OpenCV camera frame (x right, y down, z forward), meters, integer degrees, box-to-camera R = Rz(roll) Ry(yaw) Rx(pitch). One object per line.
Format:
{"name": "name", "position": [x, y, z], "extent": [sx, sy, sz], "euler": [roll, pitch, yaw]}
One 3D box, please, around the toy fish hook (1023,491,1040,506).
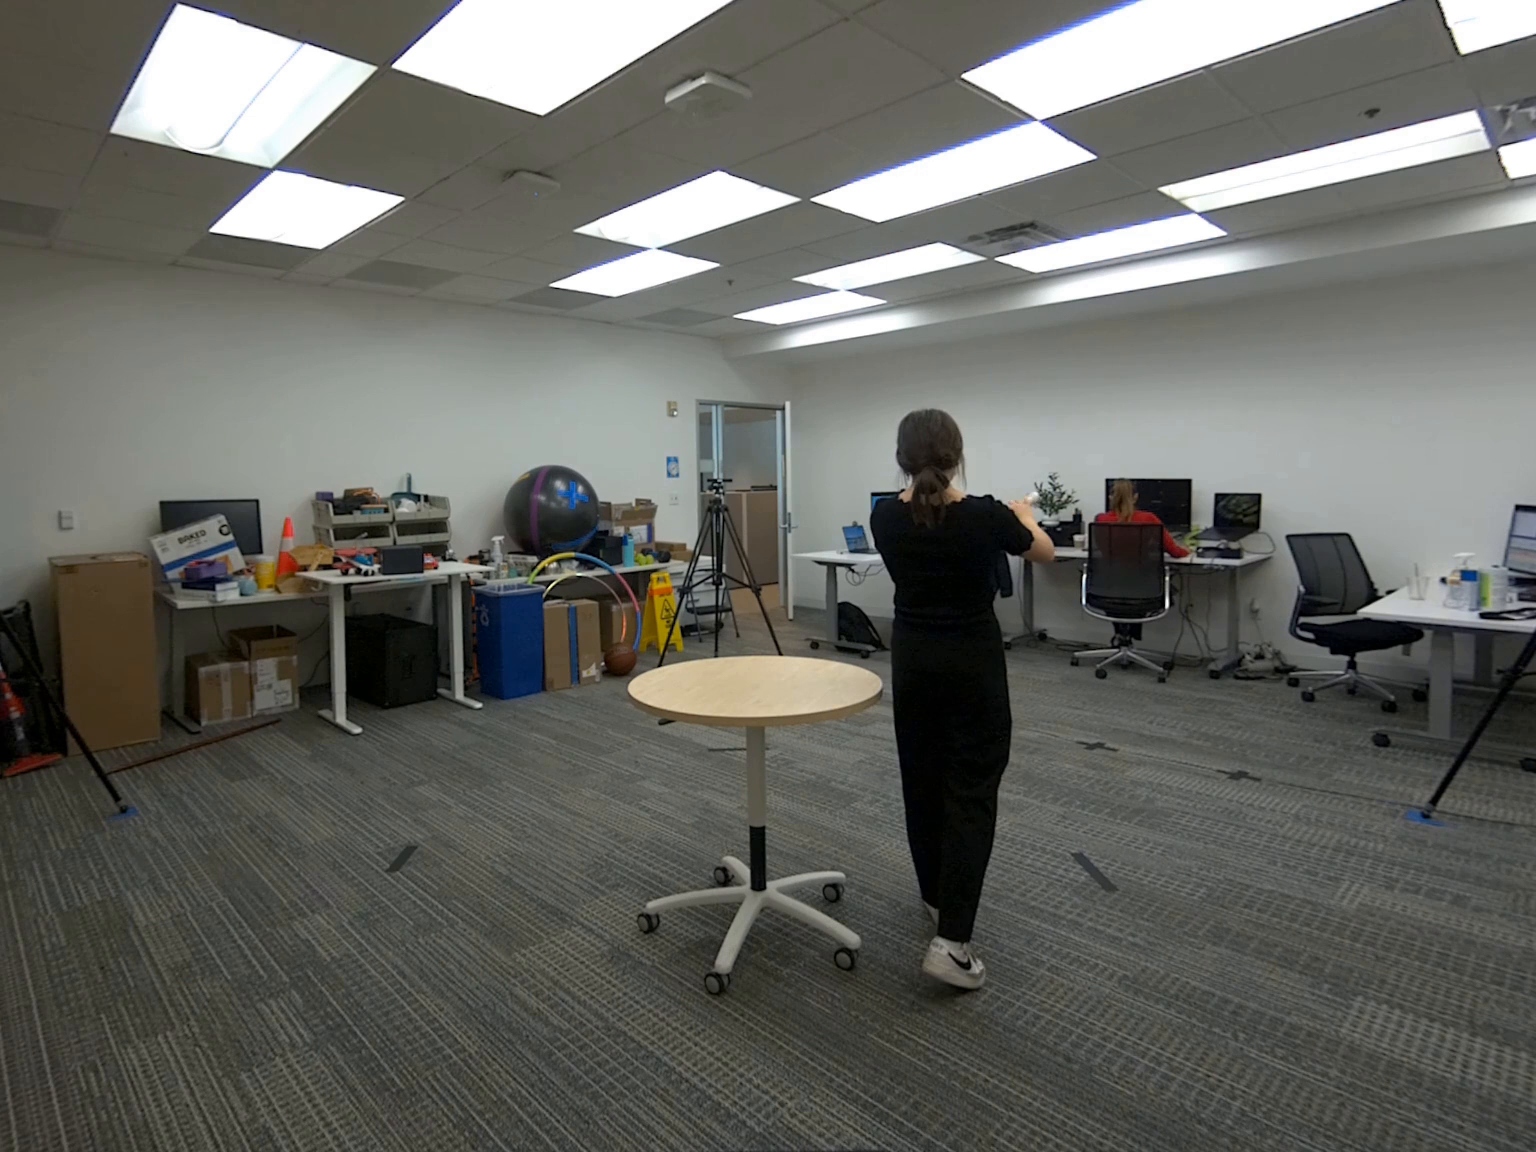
{"name": "toy fish hook", "position": [0.756, -0.121, 2.863], "extent": [0.504, 0.049, 0.221], "euler": [-39, -16, -30]}
